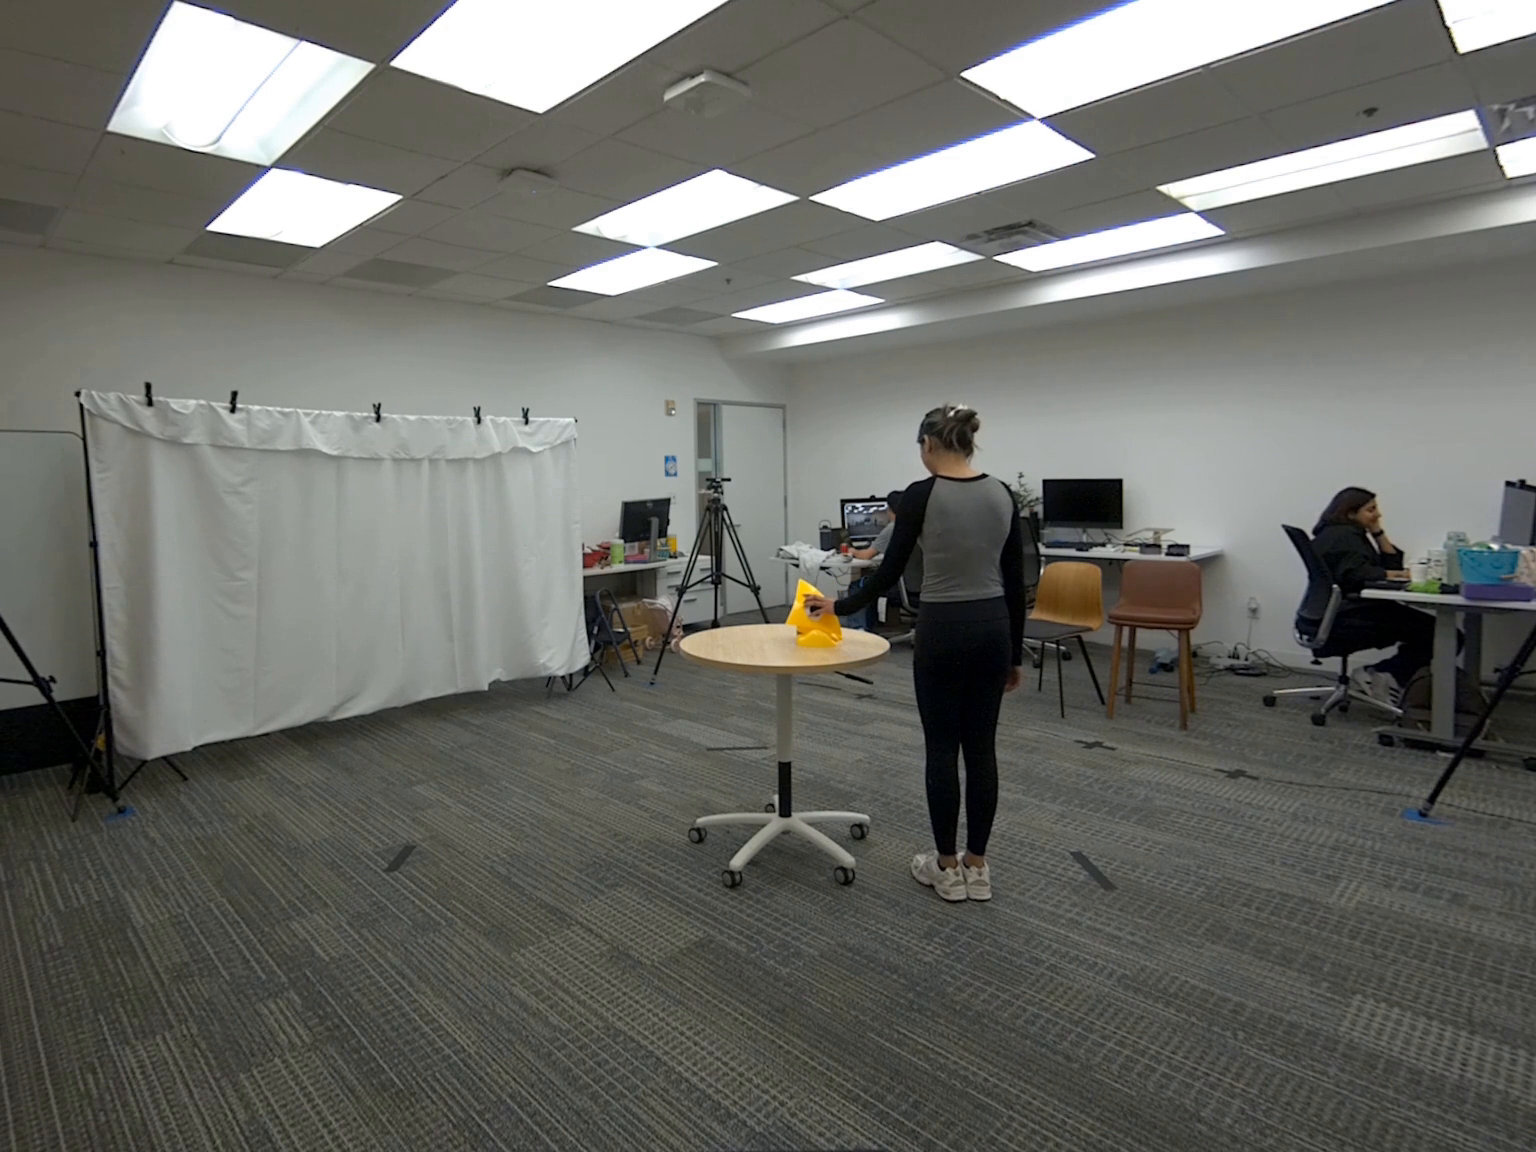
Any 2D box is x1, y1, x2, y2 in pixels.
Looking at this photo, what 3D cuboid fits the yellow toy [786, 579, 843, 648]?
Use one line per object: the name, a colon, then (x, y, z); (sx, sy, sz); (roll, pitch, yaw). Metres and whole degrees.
yellow toy: (0.179, 0.127, 3.143); (0.196, 0.230, 0.202); (1, 6, 18)
